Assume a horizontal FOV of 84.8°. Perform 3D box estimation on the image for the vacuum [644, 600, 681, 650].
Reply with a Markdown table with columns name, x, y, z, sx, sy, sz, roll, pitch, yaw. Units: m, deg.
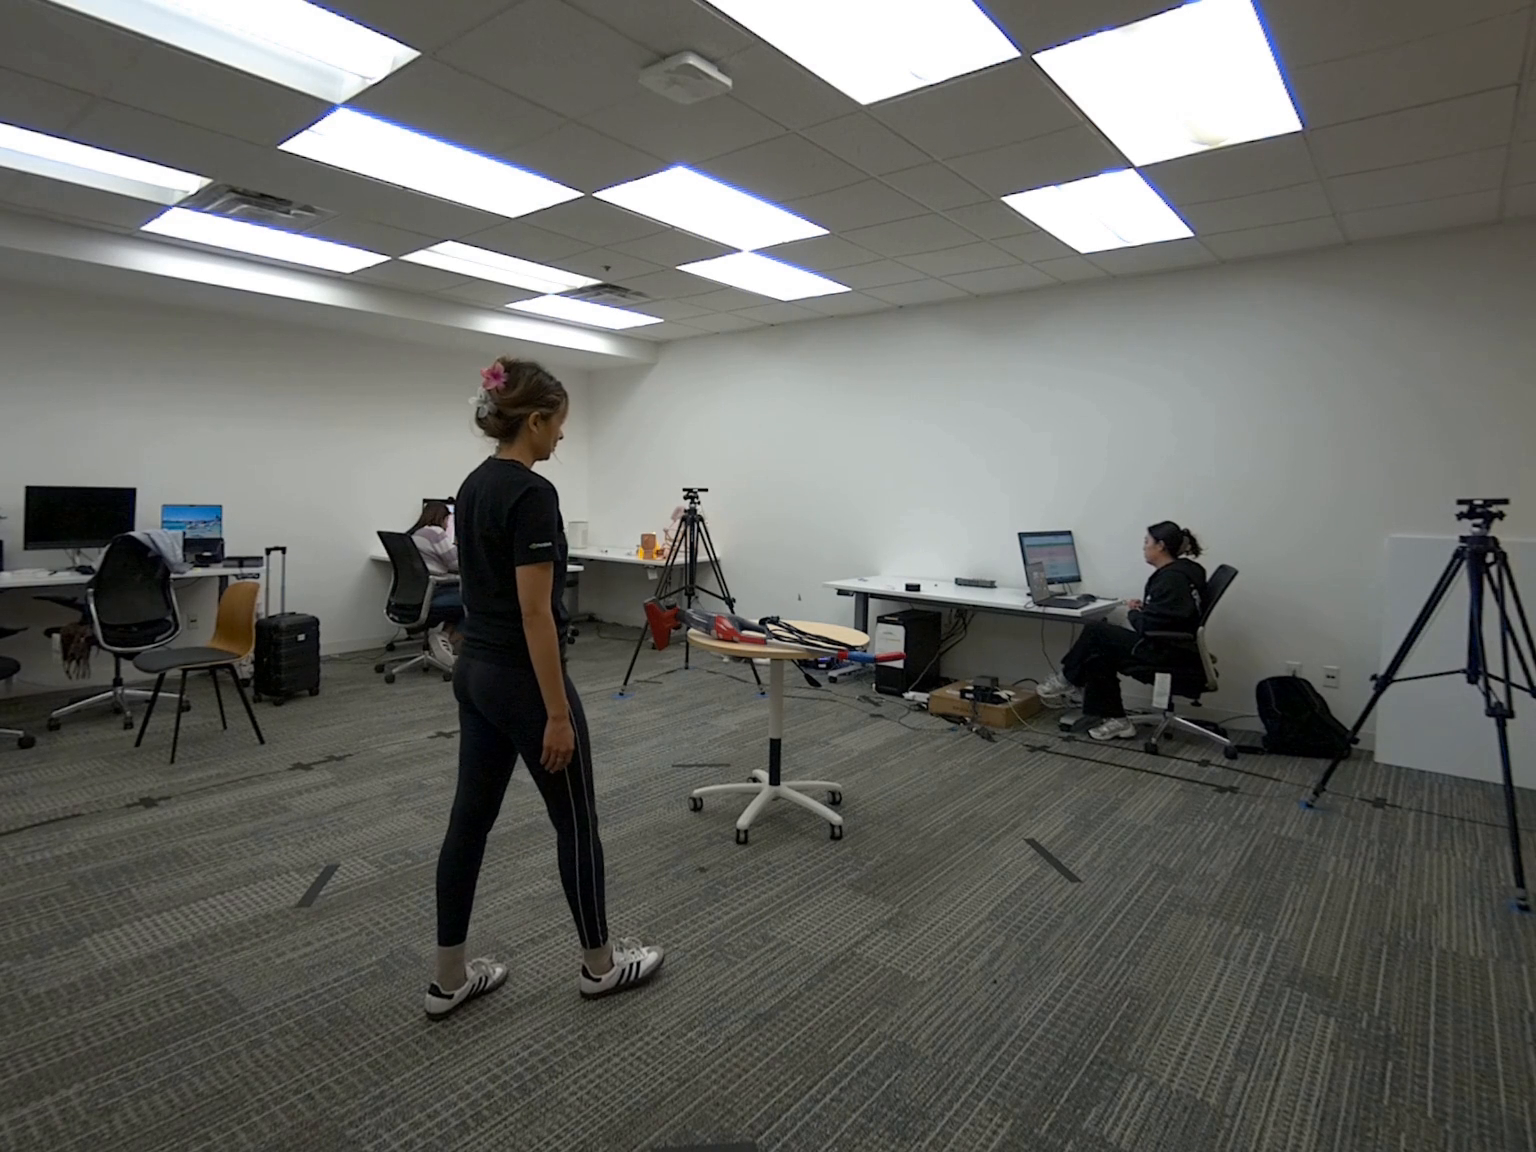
| name | x | y | z | sx | sy | sz | roll | pitch | yaw |
| --- | --- | --- | --- | --- | --- | --- | --- | --- | --- |
| vacuum | 0.007 | 0.238 | 3.334 | 1.080 | 0.244 | 0.144 | 5 | 37 | 29 |
